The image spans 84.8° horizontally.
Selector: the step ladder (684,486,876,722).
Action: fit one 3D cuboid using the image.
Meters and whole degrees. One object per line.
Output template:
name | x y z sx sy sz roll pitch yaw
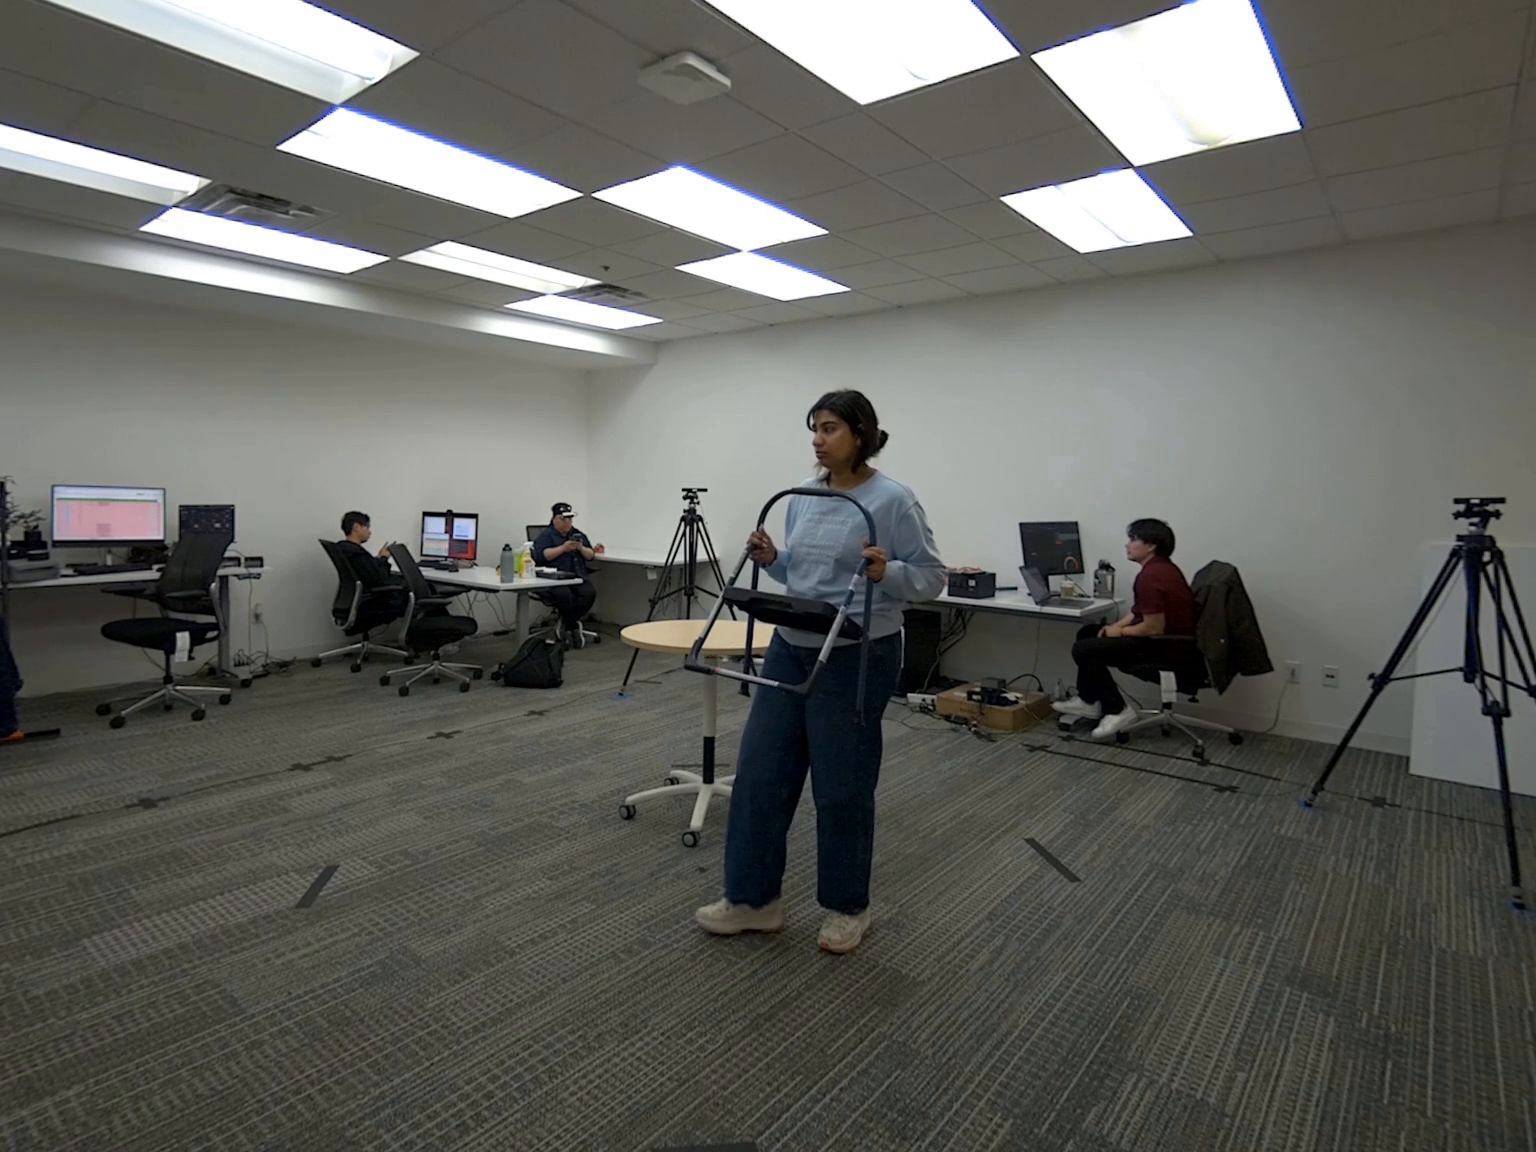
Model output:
step ladder | 0.090 0.052 2.464 0.444 0.612 0.335 6 -17 32
